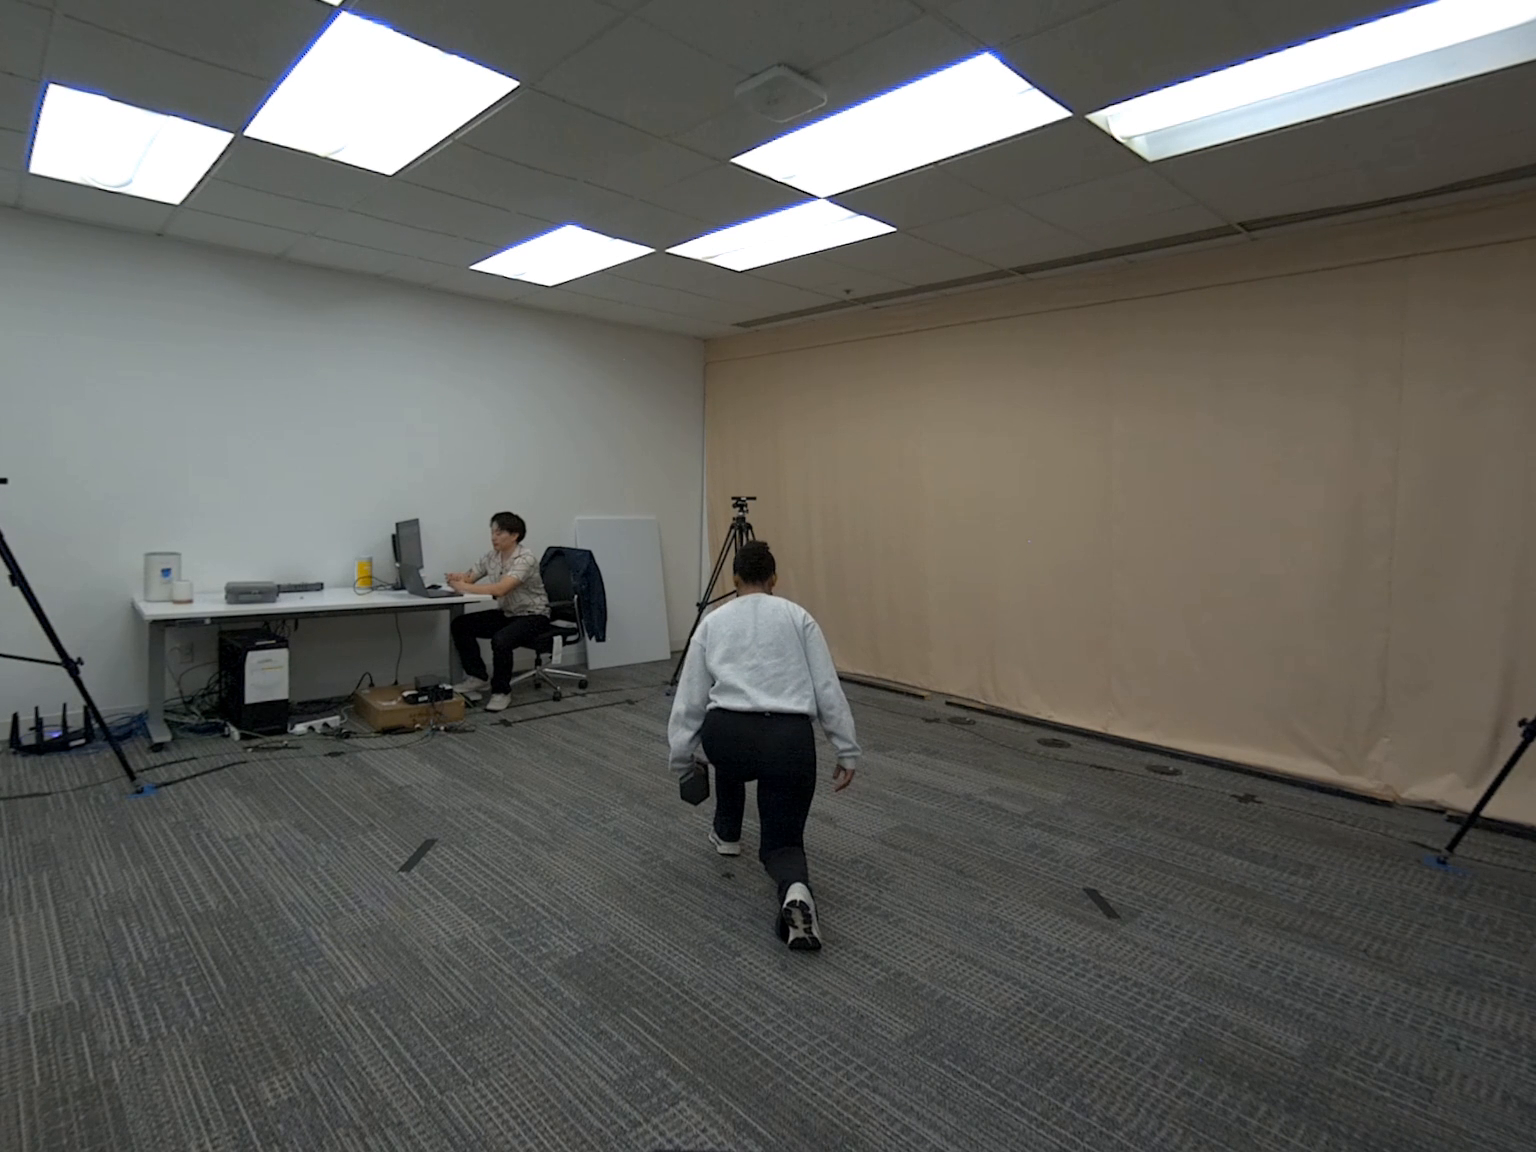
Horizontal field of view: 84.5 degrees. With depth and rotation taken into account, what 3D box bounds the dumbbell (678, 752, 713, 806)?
[{"bbox_3d":[-0.271,0.747,3.149,0.108,0.123,0.293,-6,-1,-3],"label":"dumbbell"}]
